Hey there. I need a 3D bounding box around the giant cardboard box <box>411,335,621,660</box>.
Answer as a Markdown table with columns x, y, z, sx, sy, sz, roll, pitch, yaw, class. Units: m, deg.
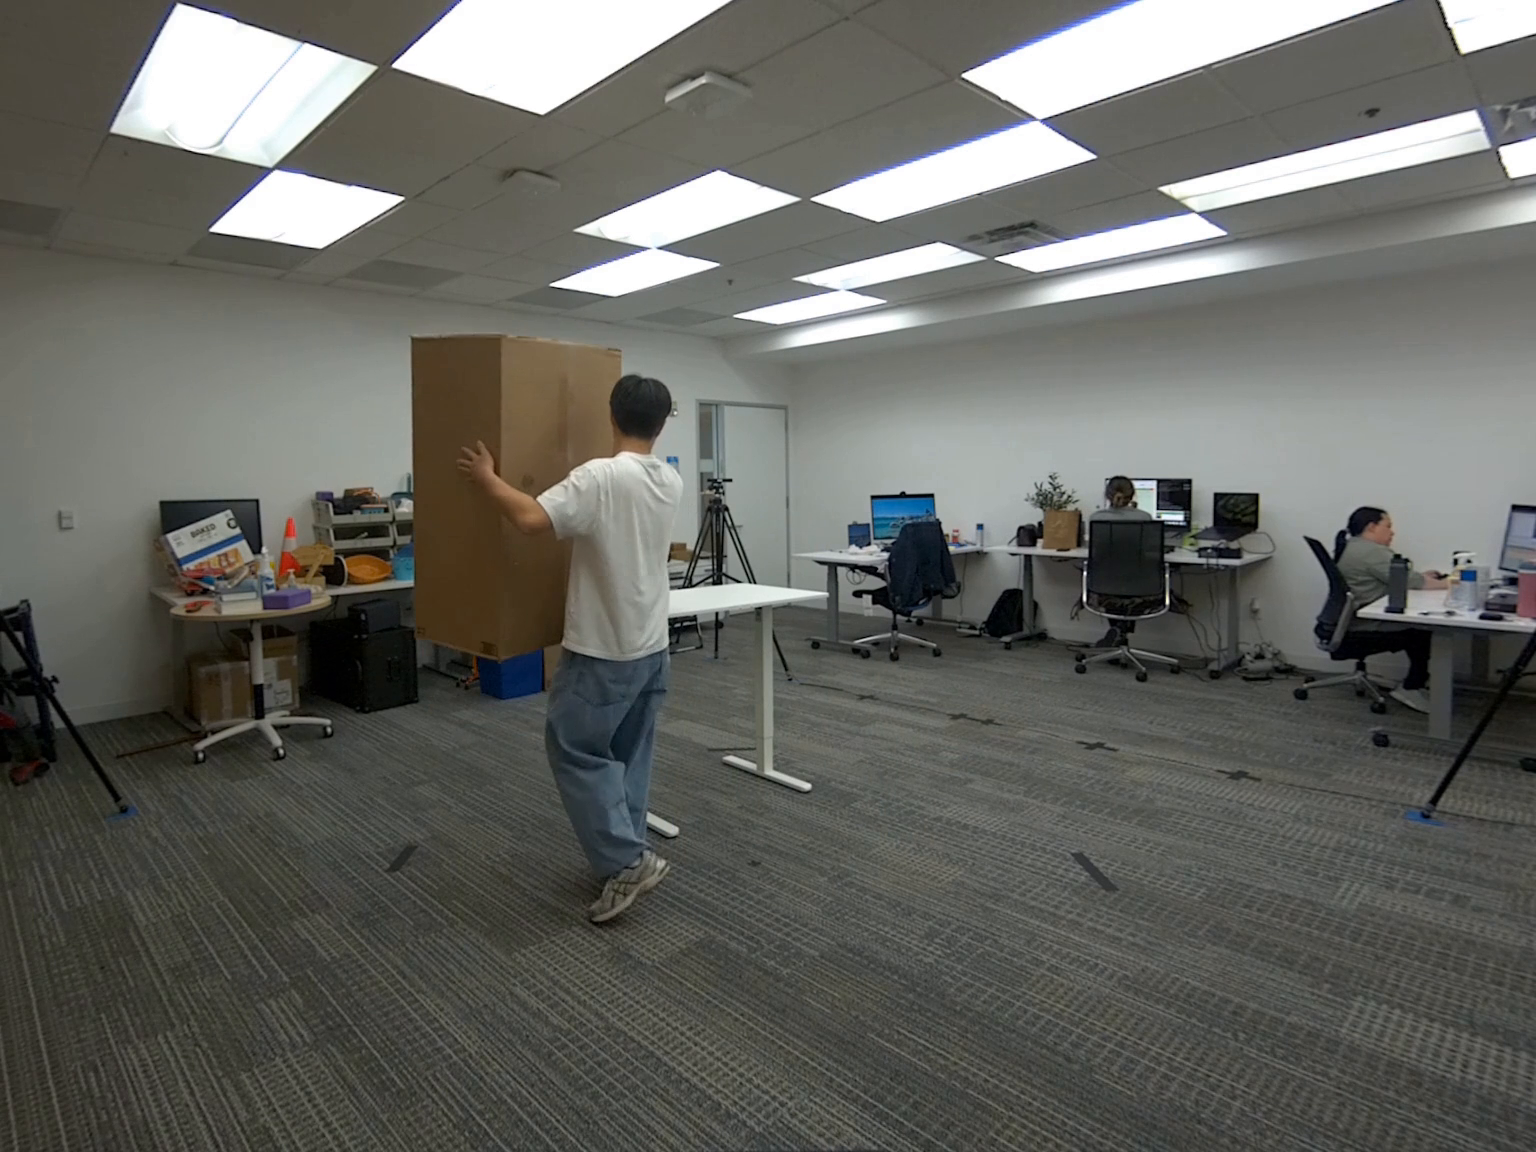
| x | y | z | sx | sy | sz | roll | pitch | yaw | class |
| --- | --- | --- | --- | --- | --- | --- | --- | --- | --- |
| -0.864 | -0.293 | 2.986 | 0.439 | 1.018 | 0.565 | 8 | 11 | 30 | giant cardboard box |
